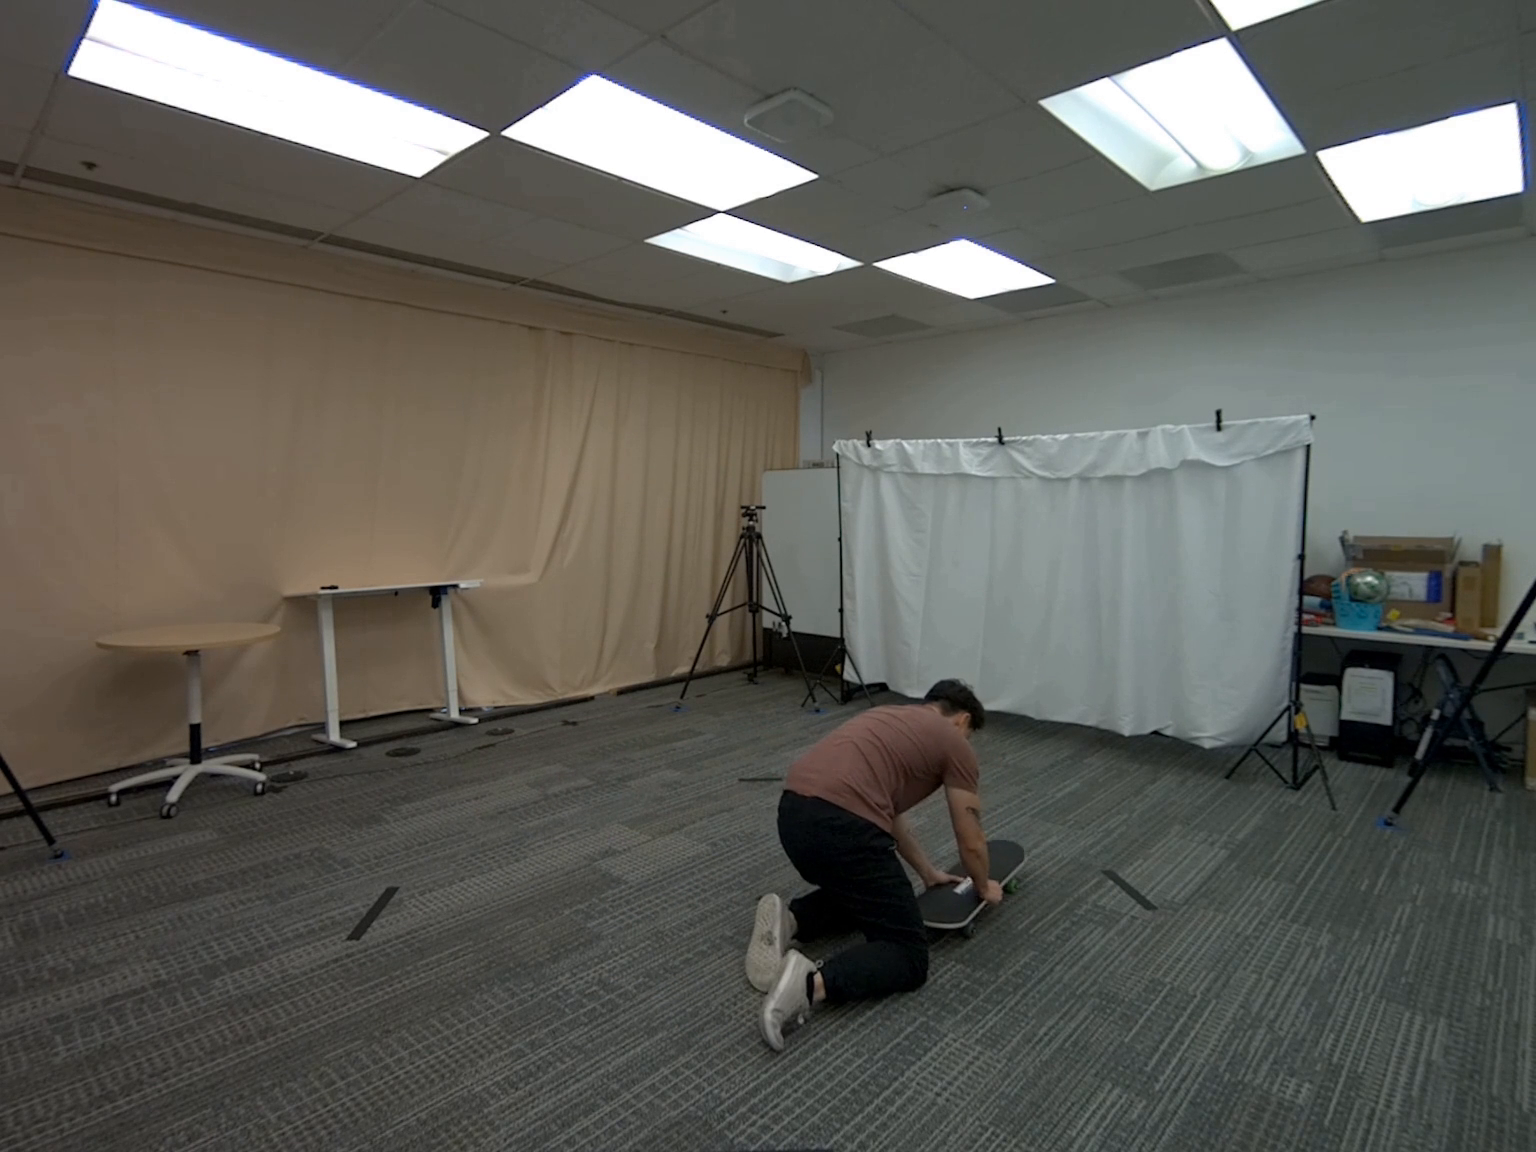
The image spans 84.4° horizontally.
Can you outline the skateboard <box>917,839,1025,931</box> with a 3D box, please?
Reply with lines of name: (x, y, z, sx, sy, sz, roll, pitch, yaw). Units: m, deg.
skateboard: (0.692, 1.097, 2.923, 0.199, 0.110, 0.763, 1, 6, 36)
